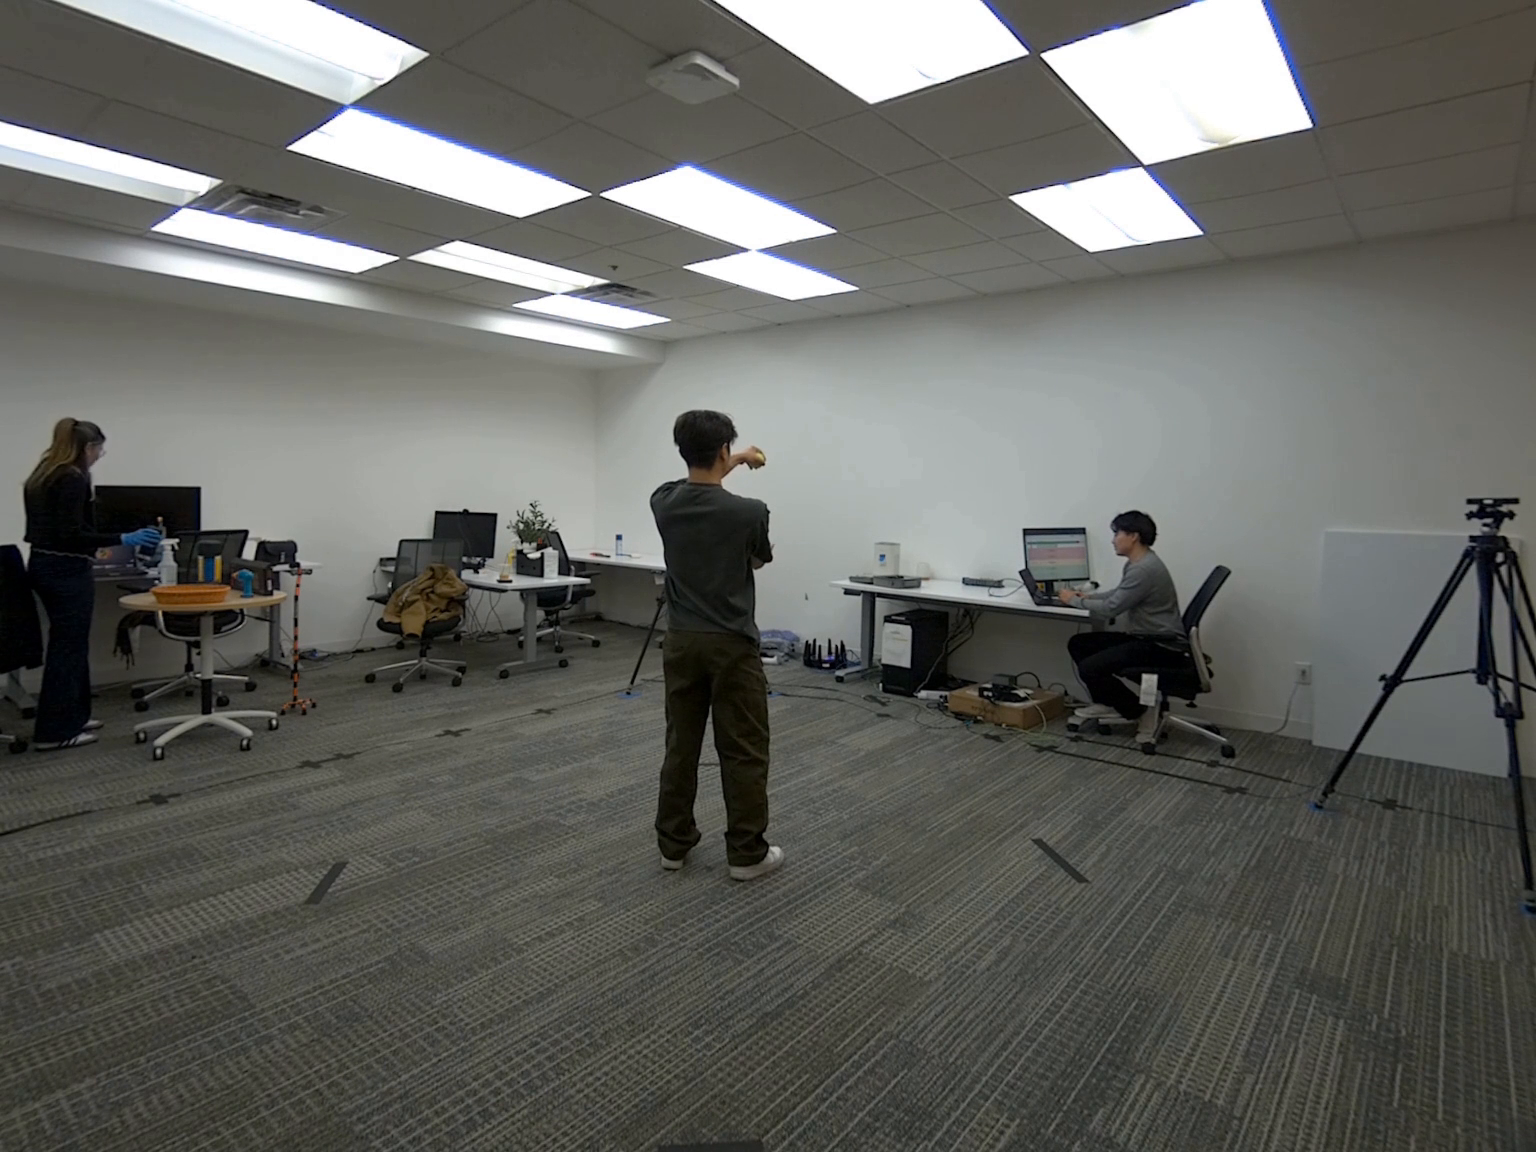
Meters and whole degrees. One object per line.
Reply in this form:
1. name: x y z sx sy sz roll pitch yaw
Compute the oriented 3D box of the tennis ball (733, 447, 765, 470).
1. tennis ball: -0.086 -0.512 3.579 0.066 0.066 0.067 1 4 -2
